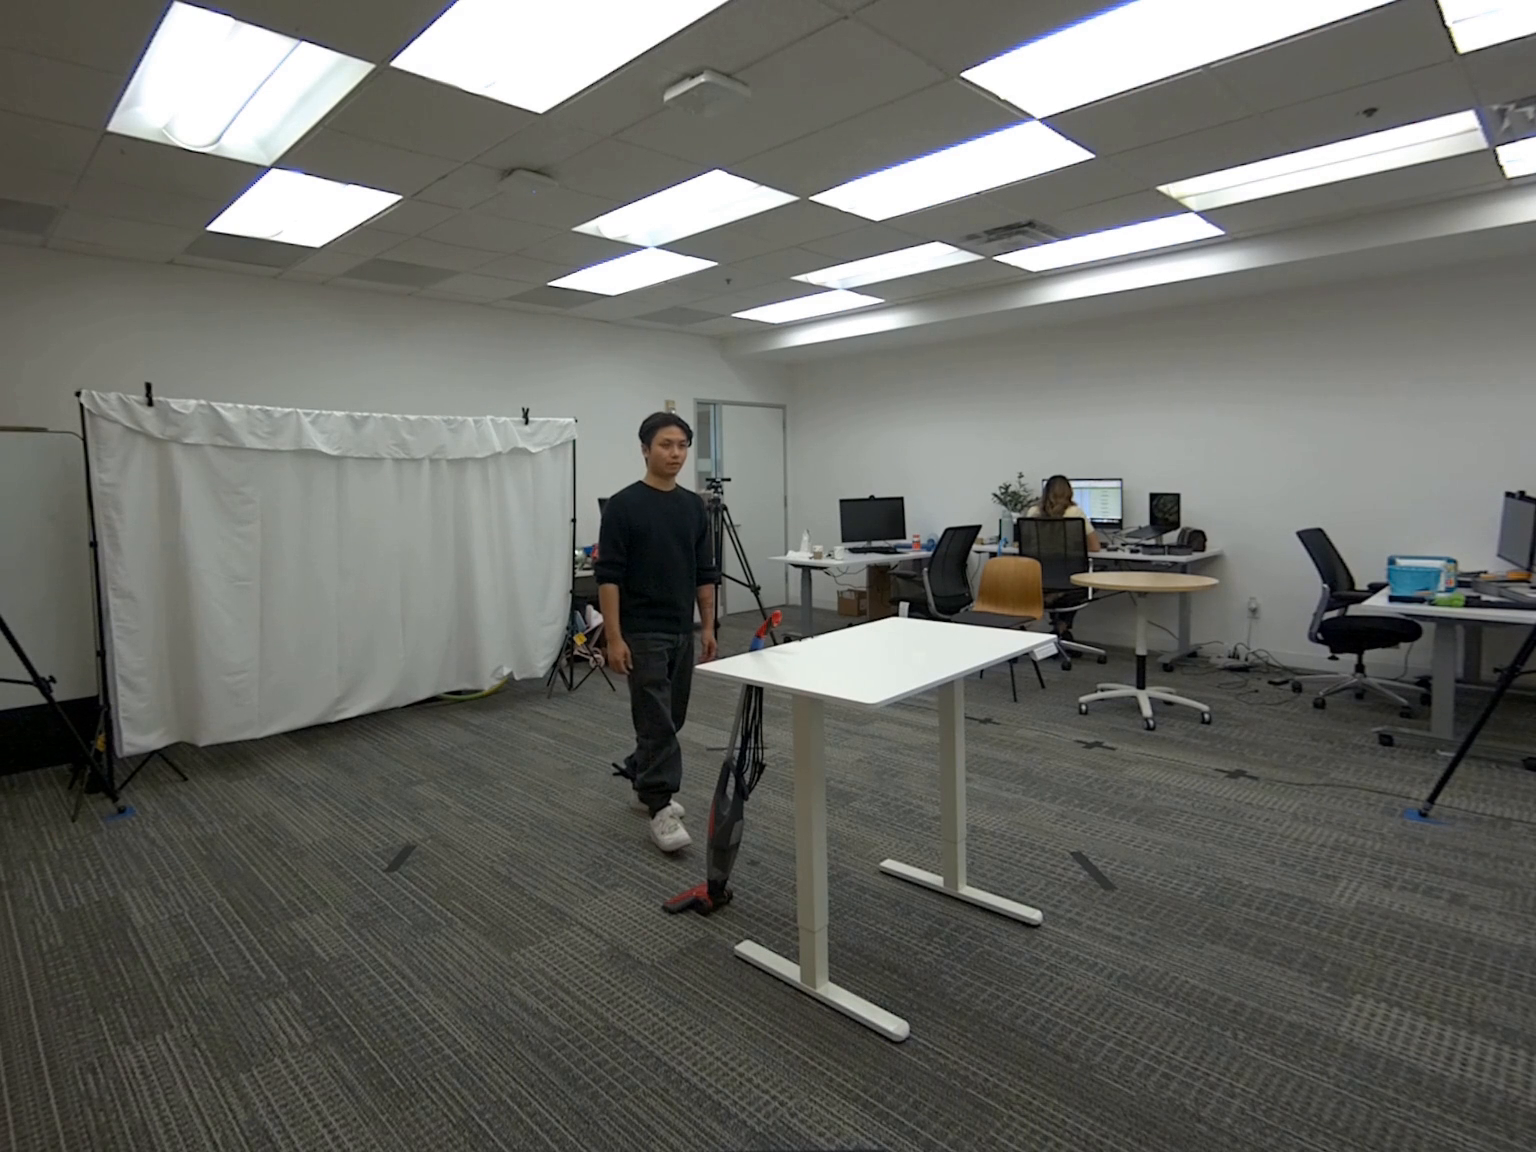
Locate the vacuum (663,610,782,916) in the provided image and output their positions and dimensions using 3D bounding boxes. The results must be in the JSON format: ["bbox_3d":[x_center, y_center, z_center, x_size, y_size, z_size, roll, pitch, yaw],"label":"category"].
[{"bbox_3d":[-0.092,0.599,2.667,0.149,1.037,0.246,26,21,35],"label":"vacuum"}]
